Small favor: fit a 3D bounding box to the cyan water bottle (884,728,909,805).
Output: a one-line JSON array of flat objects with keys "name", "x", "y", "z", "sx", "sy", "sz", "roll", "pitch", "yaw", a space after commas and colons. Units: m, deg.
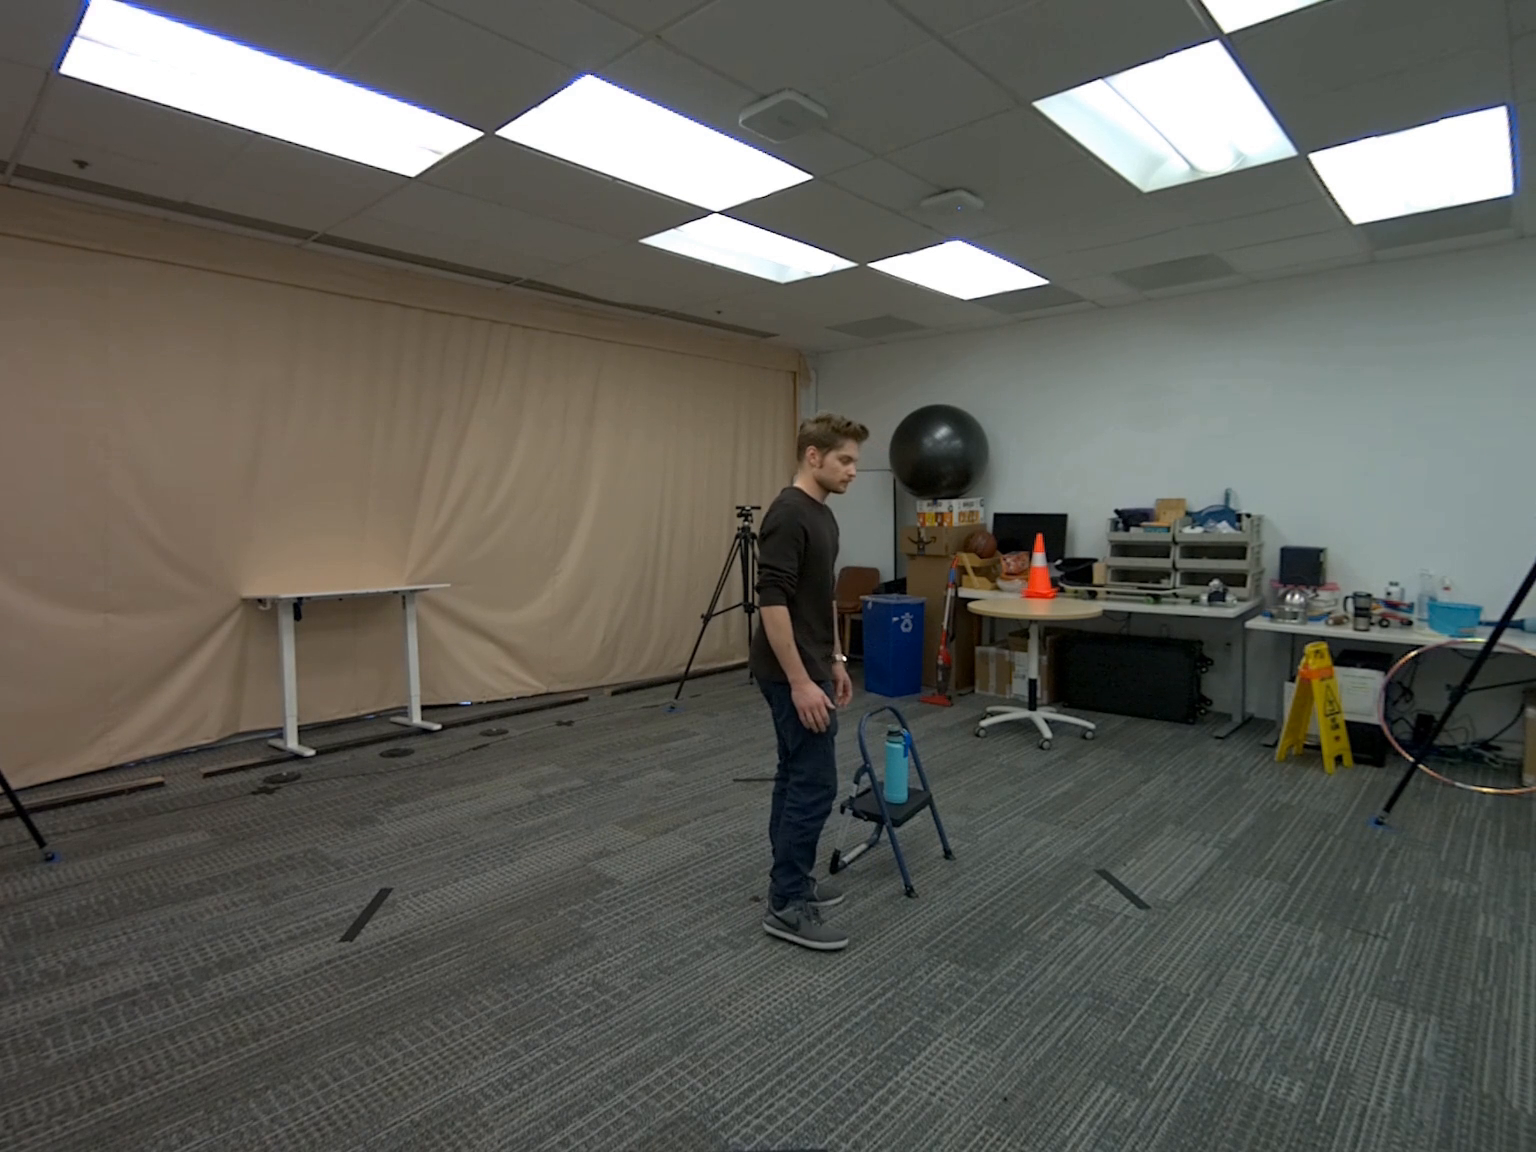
[{"name": "cyan water bottle", "x": 0.499, "y": 0.719, "z": 3.234, "sx": 0.092, "sy": 0.283, "sz": 0.092, "roll": 1, "pitch": 3, "yaw": -2}]
